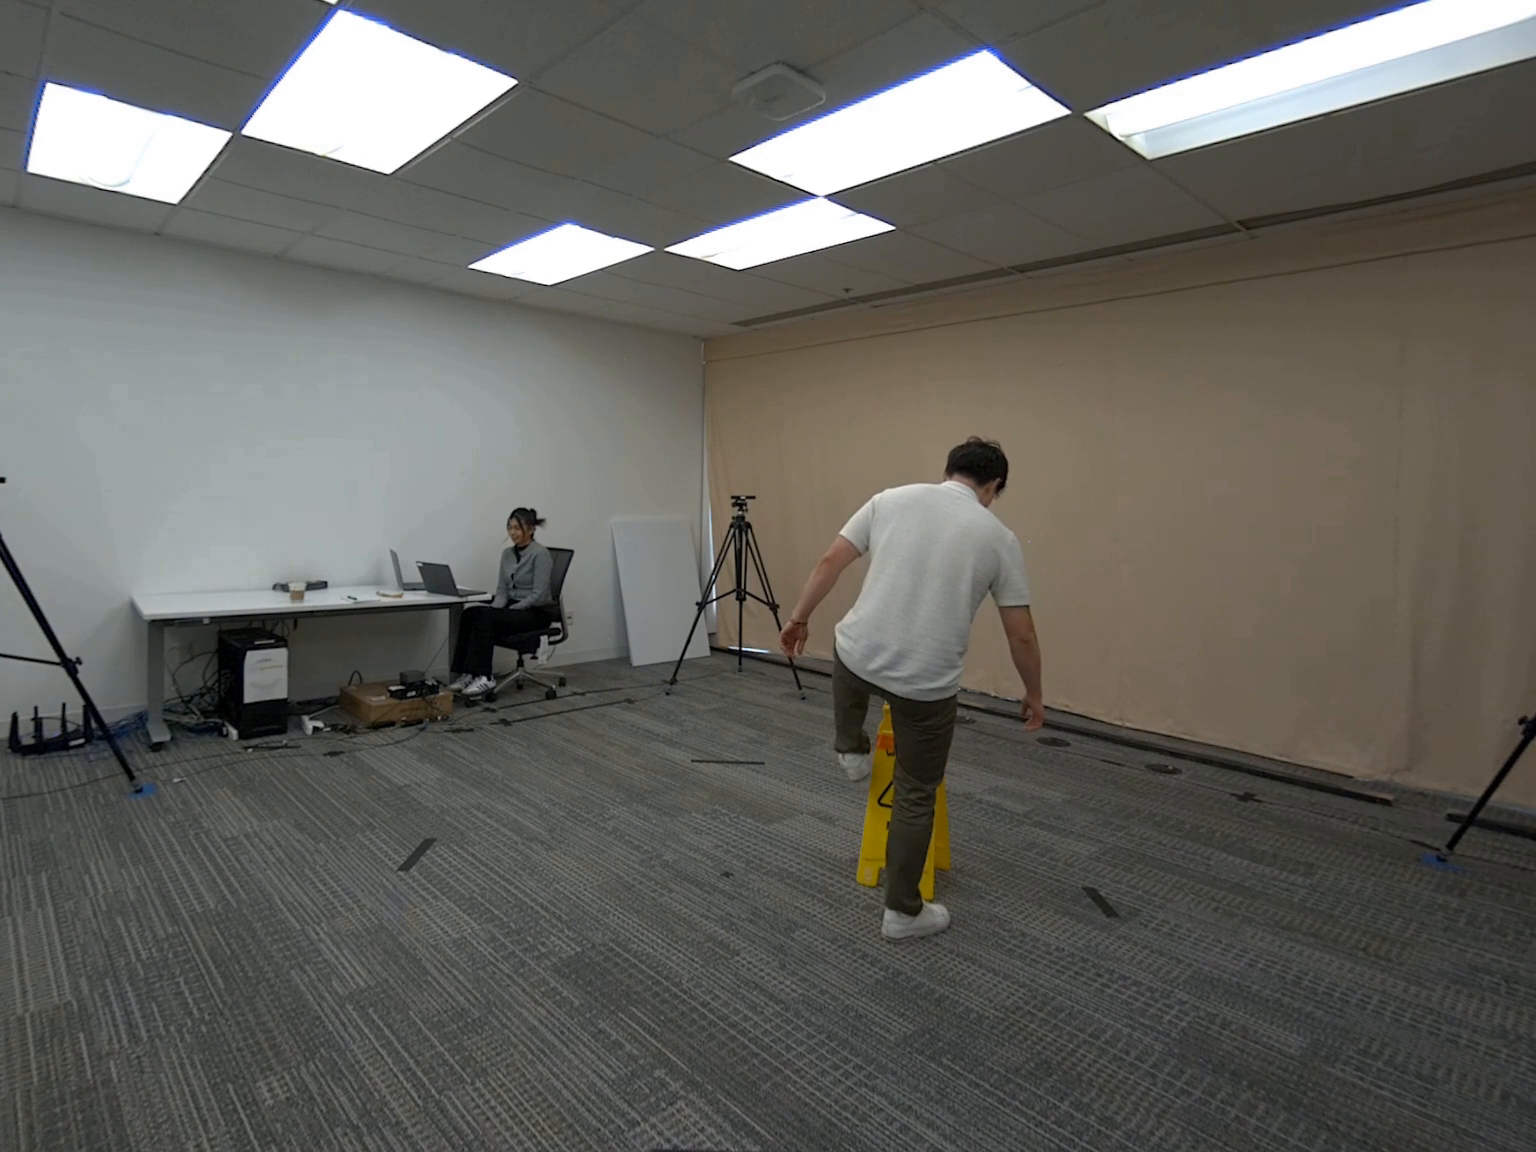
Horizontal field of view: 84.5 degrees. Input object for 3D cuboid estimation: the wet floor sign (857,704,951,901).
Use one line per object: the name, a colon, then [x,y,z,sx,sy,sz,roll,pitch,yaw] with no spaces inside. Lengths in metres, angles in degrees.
wet floor sign: [0.513,0.793,3.109,0.288,0.644,0.285,4,4,25]
